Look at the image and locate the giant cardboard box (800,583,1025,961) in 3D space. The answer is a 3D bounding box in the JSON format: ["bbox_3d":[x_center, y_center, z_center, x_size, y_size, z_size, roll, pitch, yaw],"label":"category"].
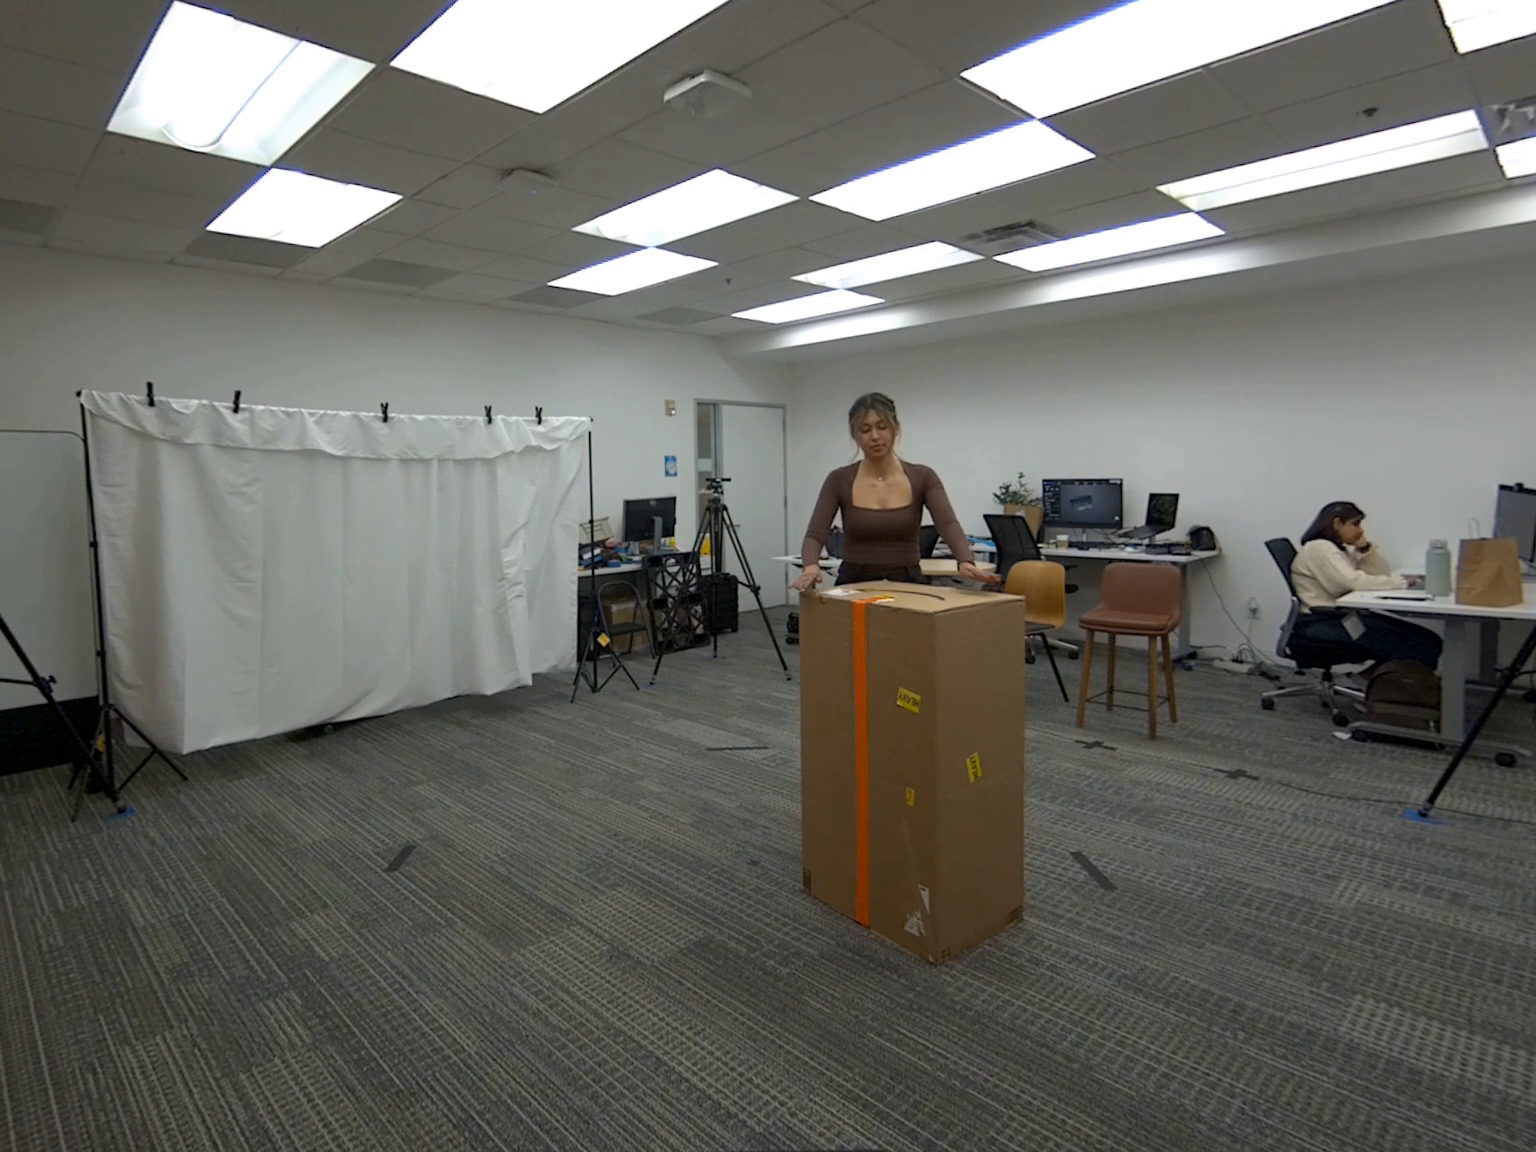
[{"bbox_3d":[0.451,0.565,2.745,0.435,1.023,0.601,-5,6,-37],"label":"giant cardboard box"}]
